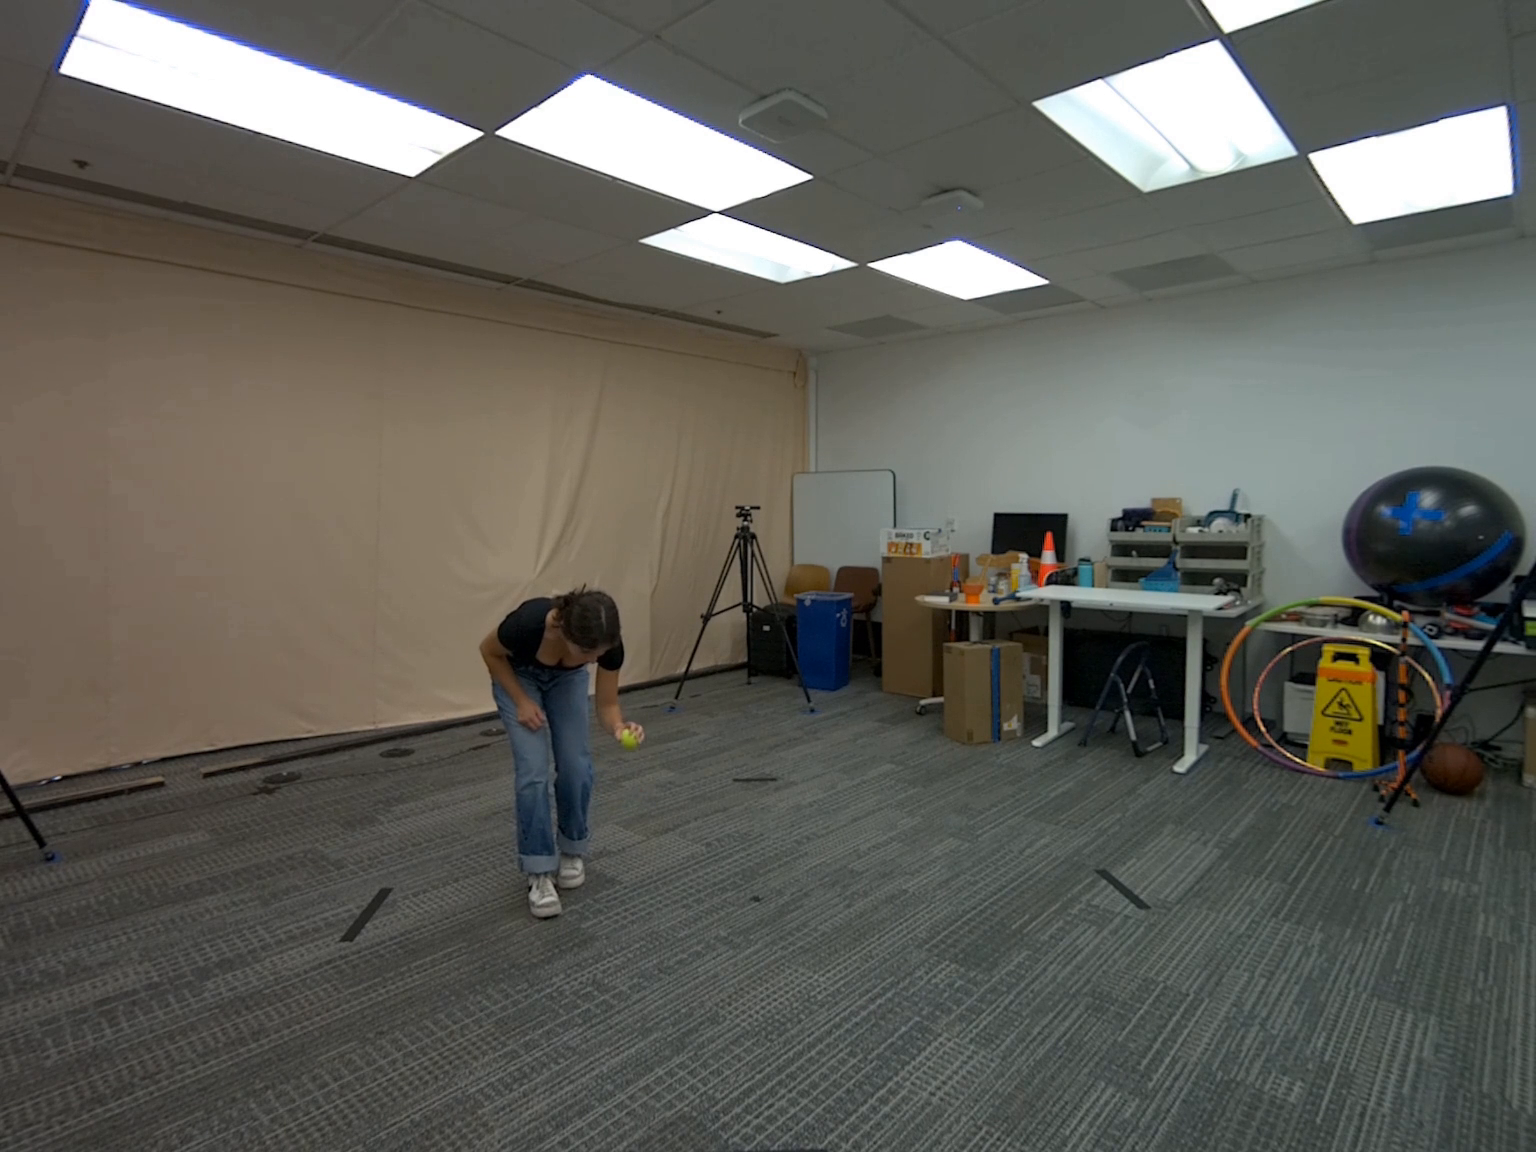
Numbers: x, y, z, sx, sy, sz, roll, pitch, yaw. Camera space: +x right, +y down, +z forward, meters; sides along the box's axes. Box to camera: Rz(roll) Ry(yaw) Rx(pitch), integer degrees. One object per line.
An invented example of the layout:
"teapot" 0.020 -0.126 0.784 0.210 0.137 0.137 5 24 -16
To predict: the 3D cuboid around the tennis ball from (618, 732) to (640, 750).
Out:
"tennis ball" -0.454 0.578 2.754 0.066 0.066 0.067 0 4 -2
